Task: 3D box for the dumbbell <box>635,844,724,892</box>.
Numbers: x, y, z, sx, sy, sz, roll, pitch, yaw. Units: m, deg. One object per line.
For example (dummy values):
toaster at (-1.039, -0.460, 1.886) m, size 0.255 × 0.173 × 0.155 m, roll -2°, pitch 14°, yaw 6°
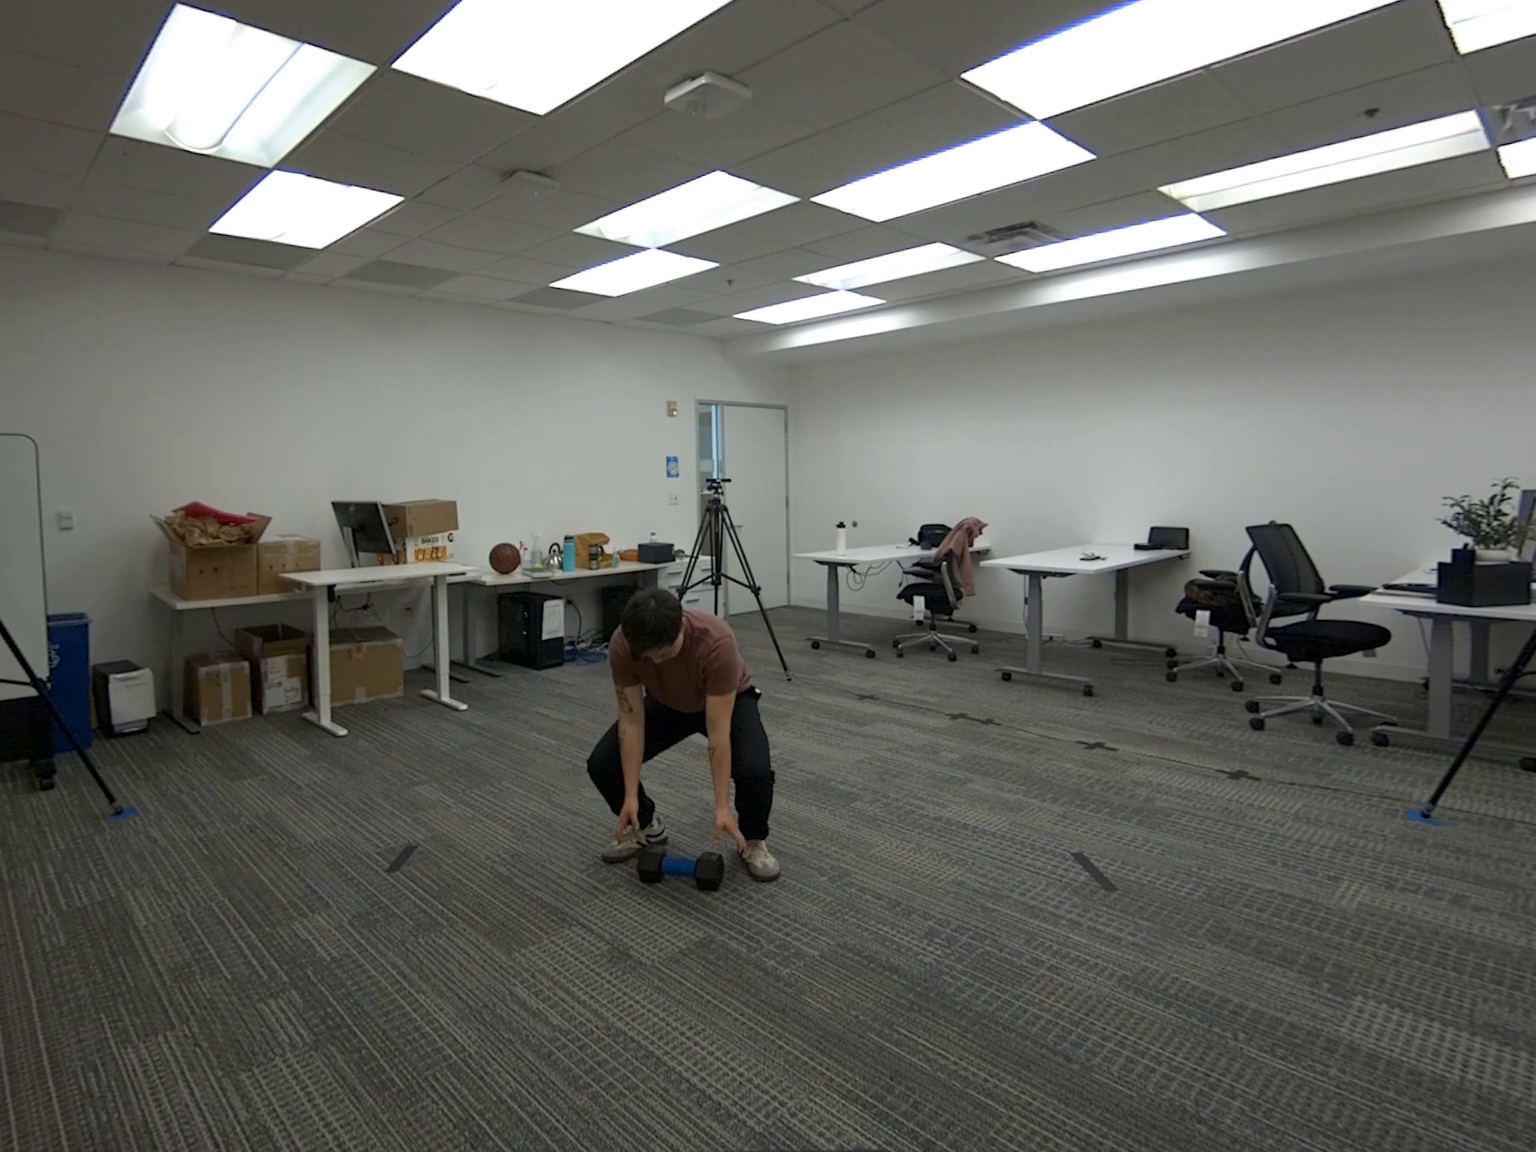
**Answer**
dumbbell at (-0.302, 1.009, 2.960) m, size 0.298 × 0.125 × 0.105 m, roll 2°, pitch -29°, yaw 16°
